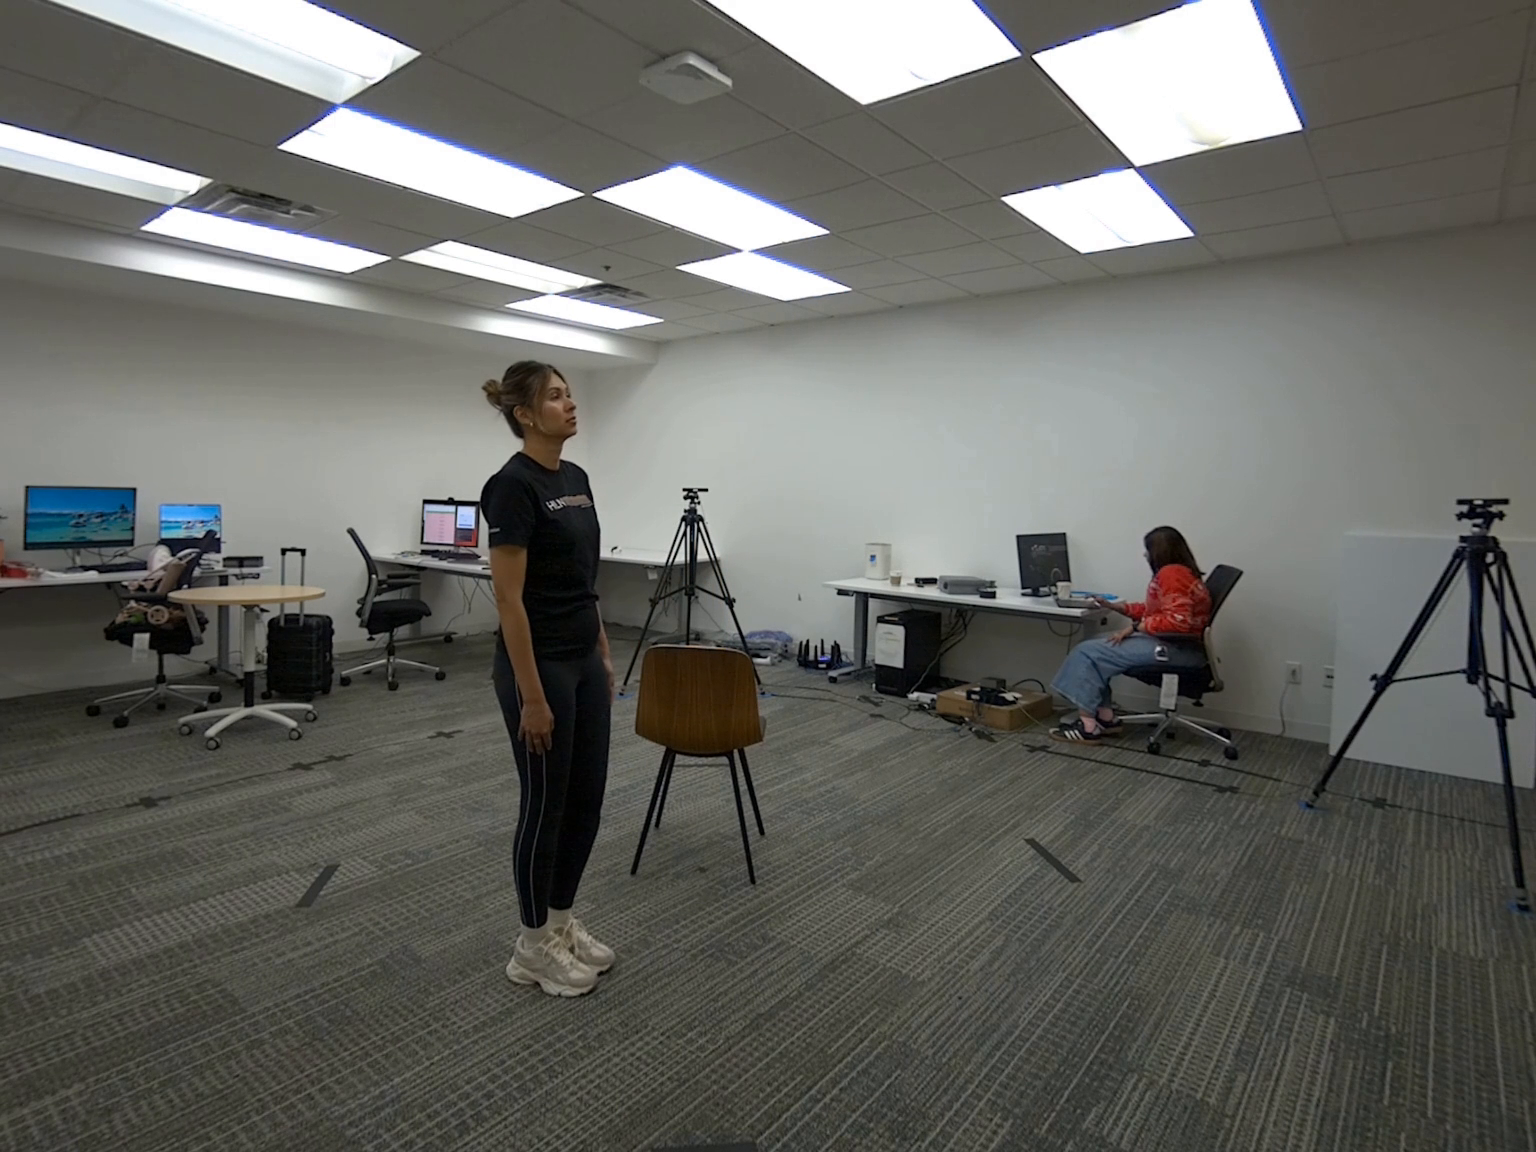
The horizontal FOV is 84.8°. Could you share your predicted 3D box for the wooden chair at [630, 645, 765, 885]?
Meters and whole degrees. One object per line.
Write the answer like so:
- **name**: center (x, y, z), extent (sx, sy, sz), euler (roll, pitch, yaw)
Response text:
- **wooden chair**: center (-0.256, 0.629, 3.227), extent (0.482, 0.872, 0.523), euler (1, 7, 6)
